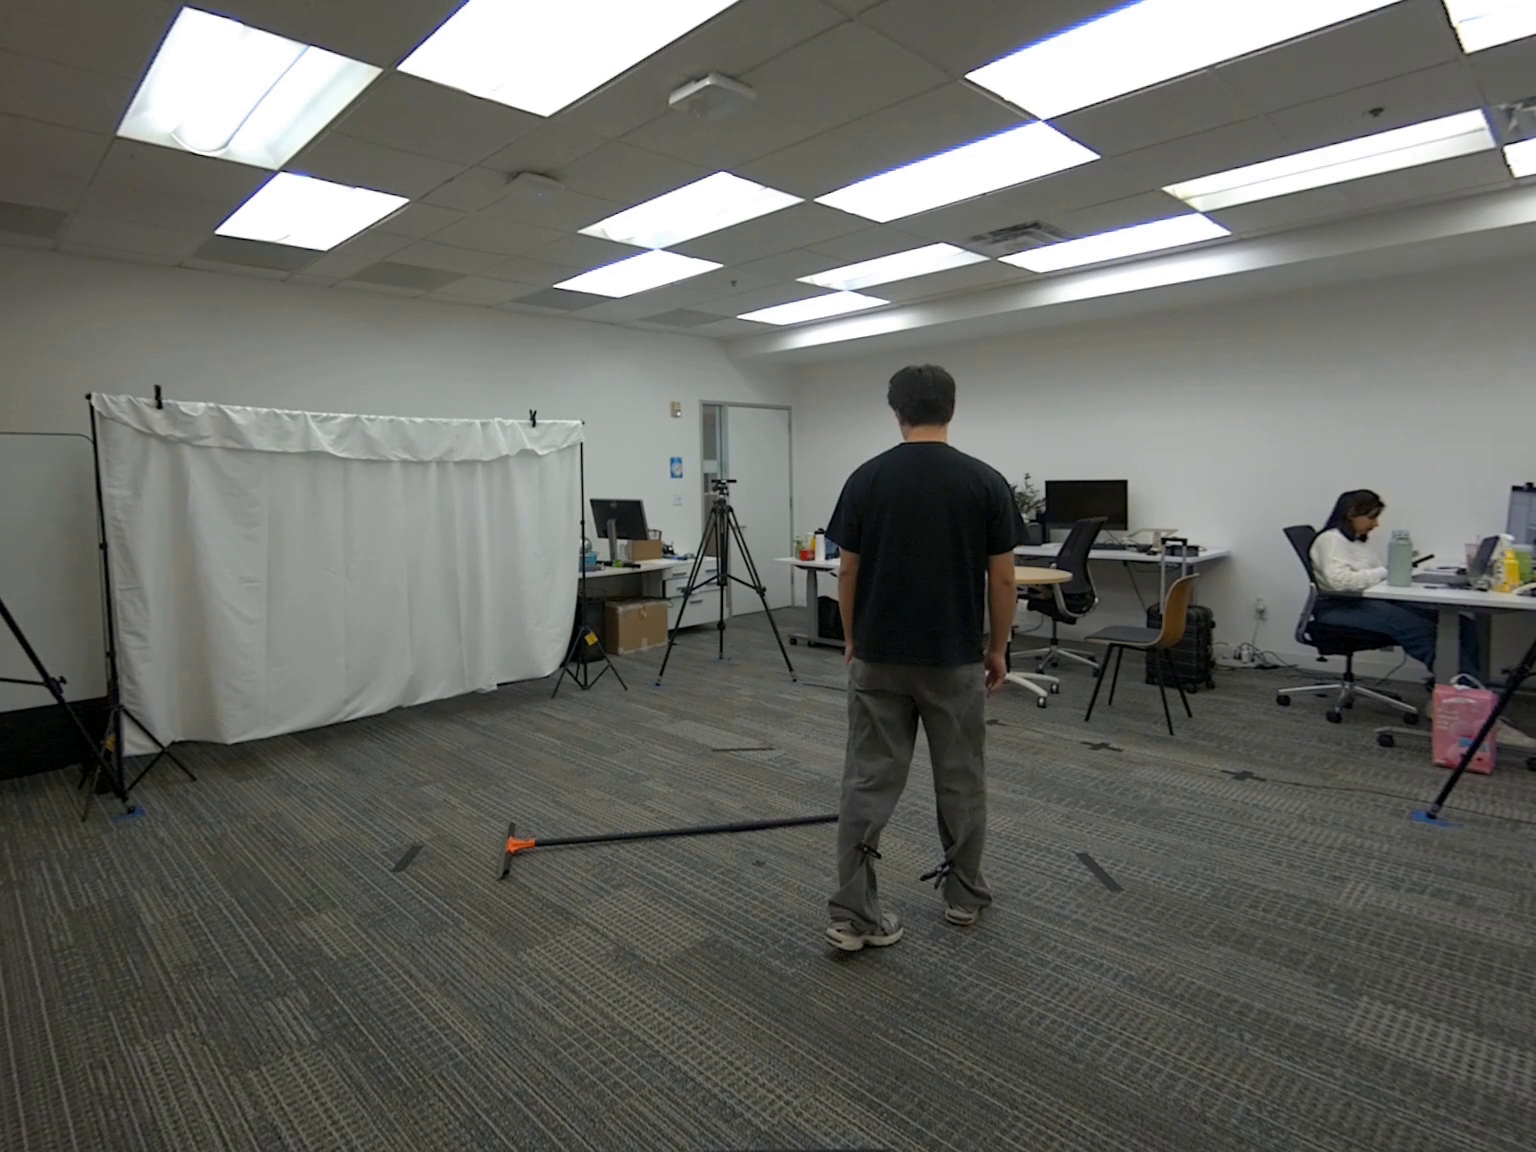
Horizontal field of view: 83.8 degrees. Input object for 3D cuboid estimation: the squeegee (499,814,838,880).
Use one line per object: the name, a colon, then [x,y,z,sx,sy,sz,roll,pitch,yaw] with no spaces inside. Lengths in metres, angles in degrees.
squeegee: [-0.255,0.979,3.370,1.520,0.053,0.444,-3,6,-12]
